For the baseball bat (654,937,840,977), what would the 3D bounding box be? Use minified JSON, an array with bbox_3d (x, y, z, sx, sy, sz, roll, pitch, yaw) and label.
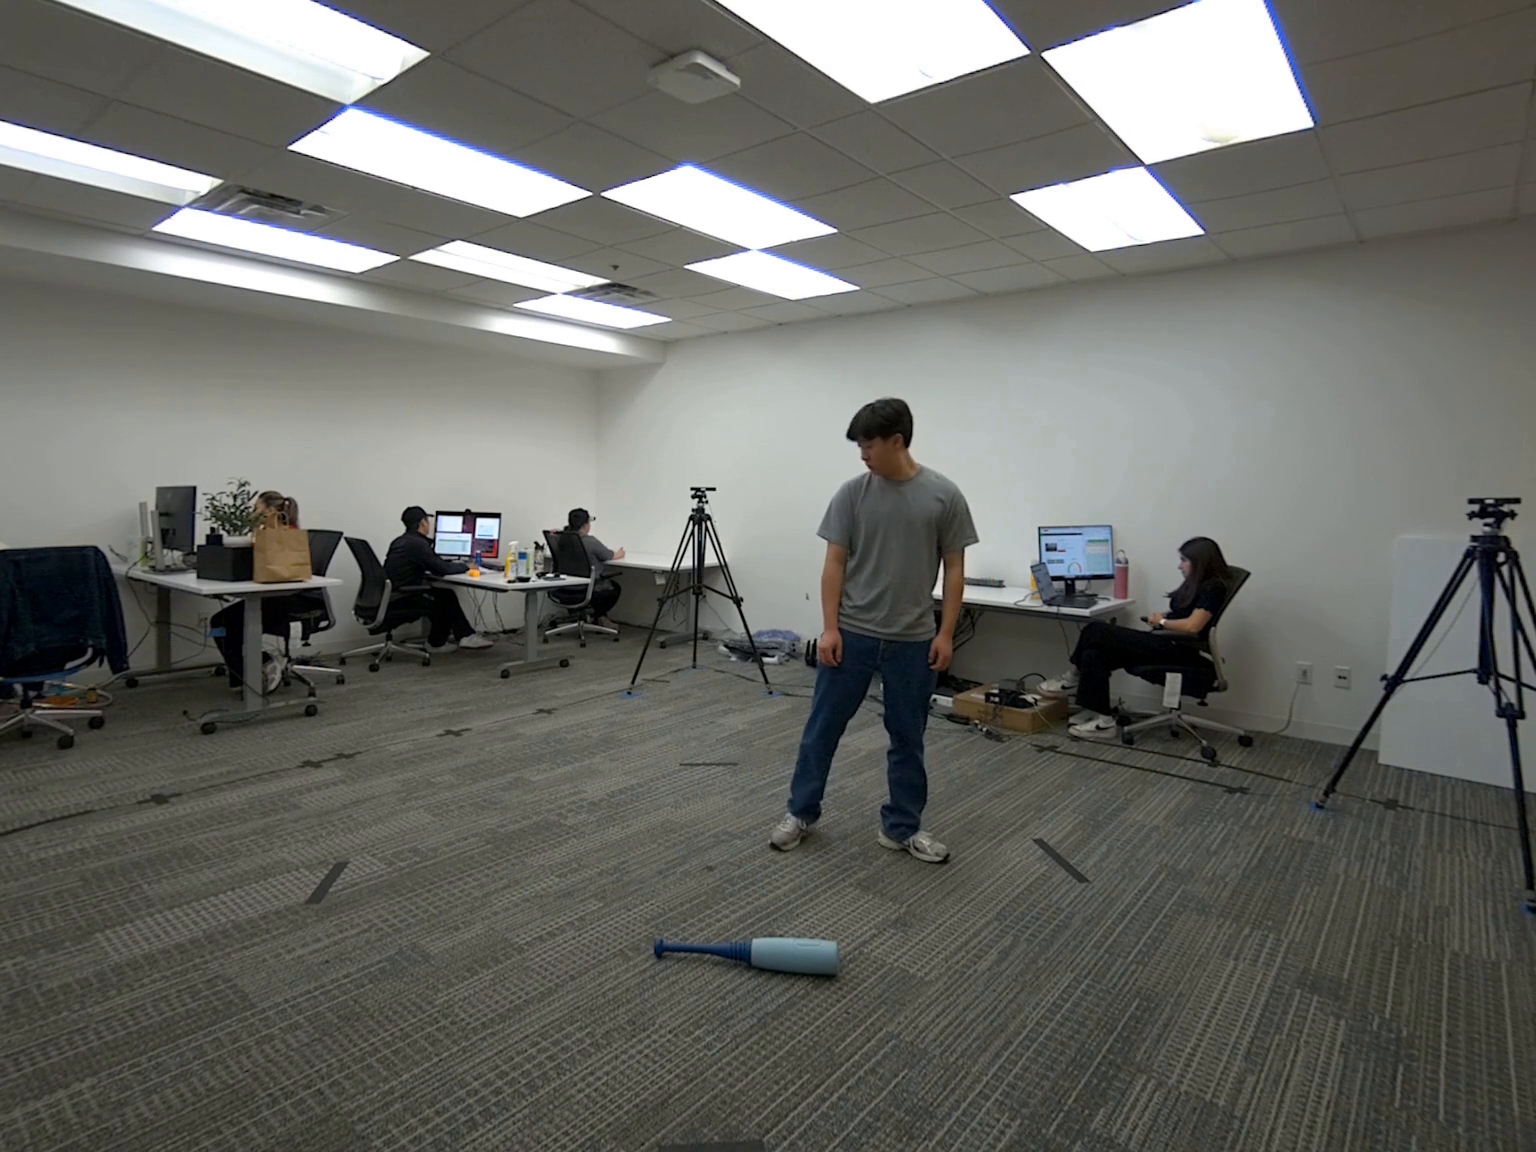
[{"bbox_3d":[-0.072,1.094,2.477,0.548,0.089,0.088,0,4,8],"label":"baseball bat"}]
